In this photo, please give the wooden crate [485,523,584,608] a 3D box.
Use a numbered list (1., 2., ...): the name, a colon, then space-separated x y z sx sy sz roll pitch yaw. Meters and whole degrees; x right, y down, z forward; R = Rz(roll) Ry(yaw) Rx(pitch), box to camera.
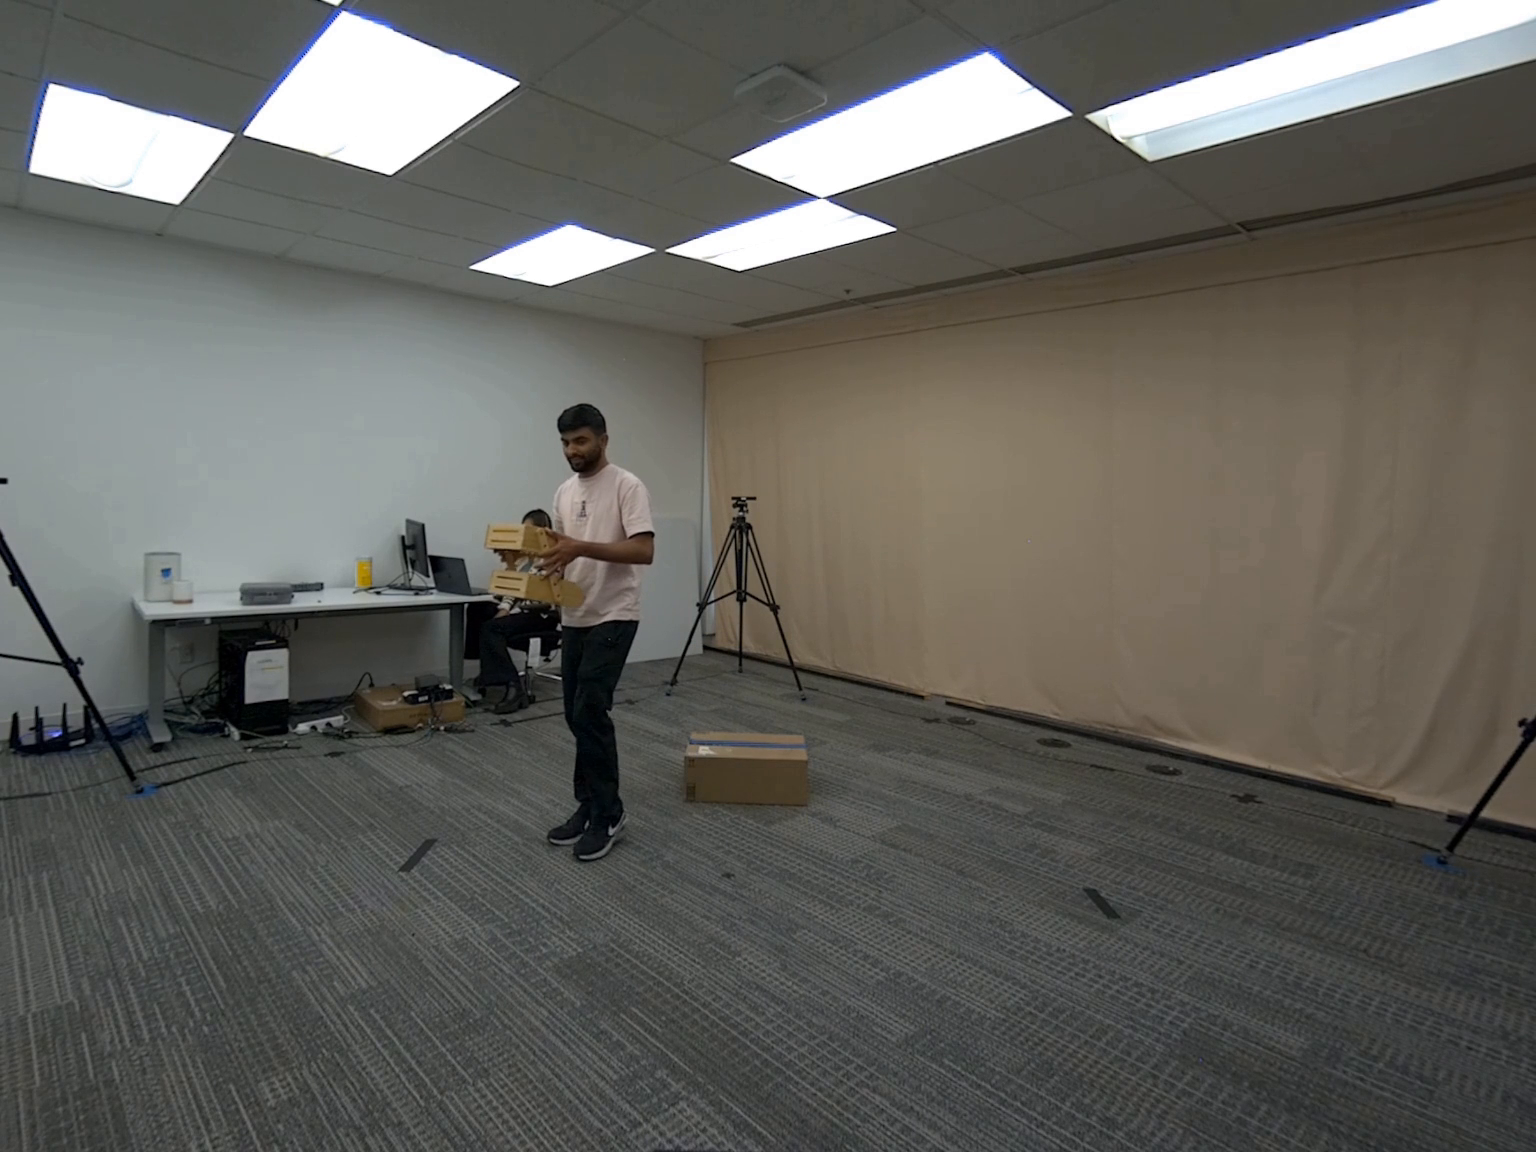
1. wooden crate: -0.882 -0.040 3.187 0.293 0.274 0.332 14 -8 -42
